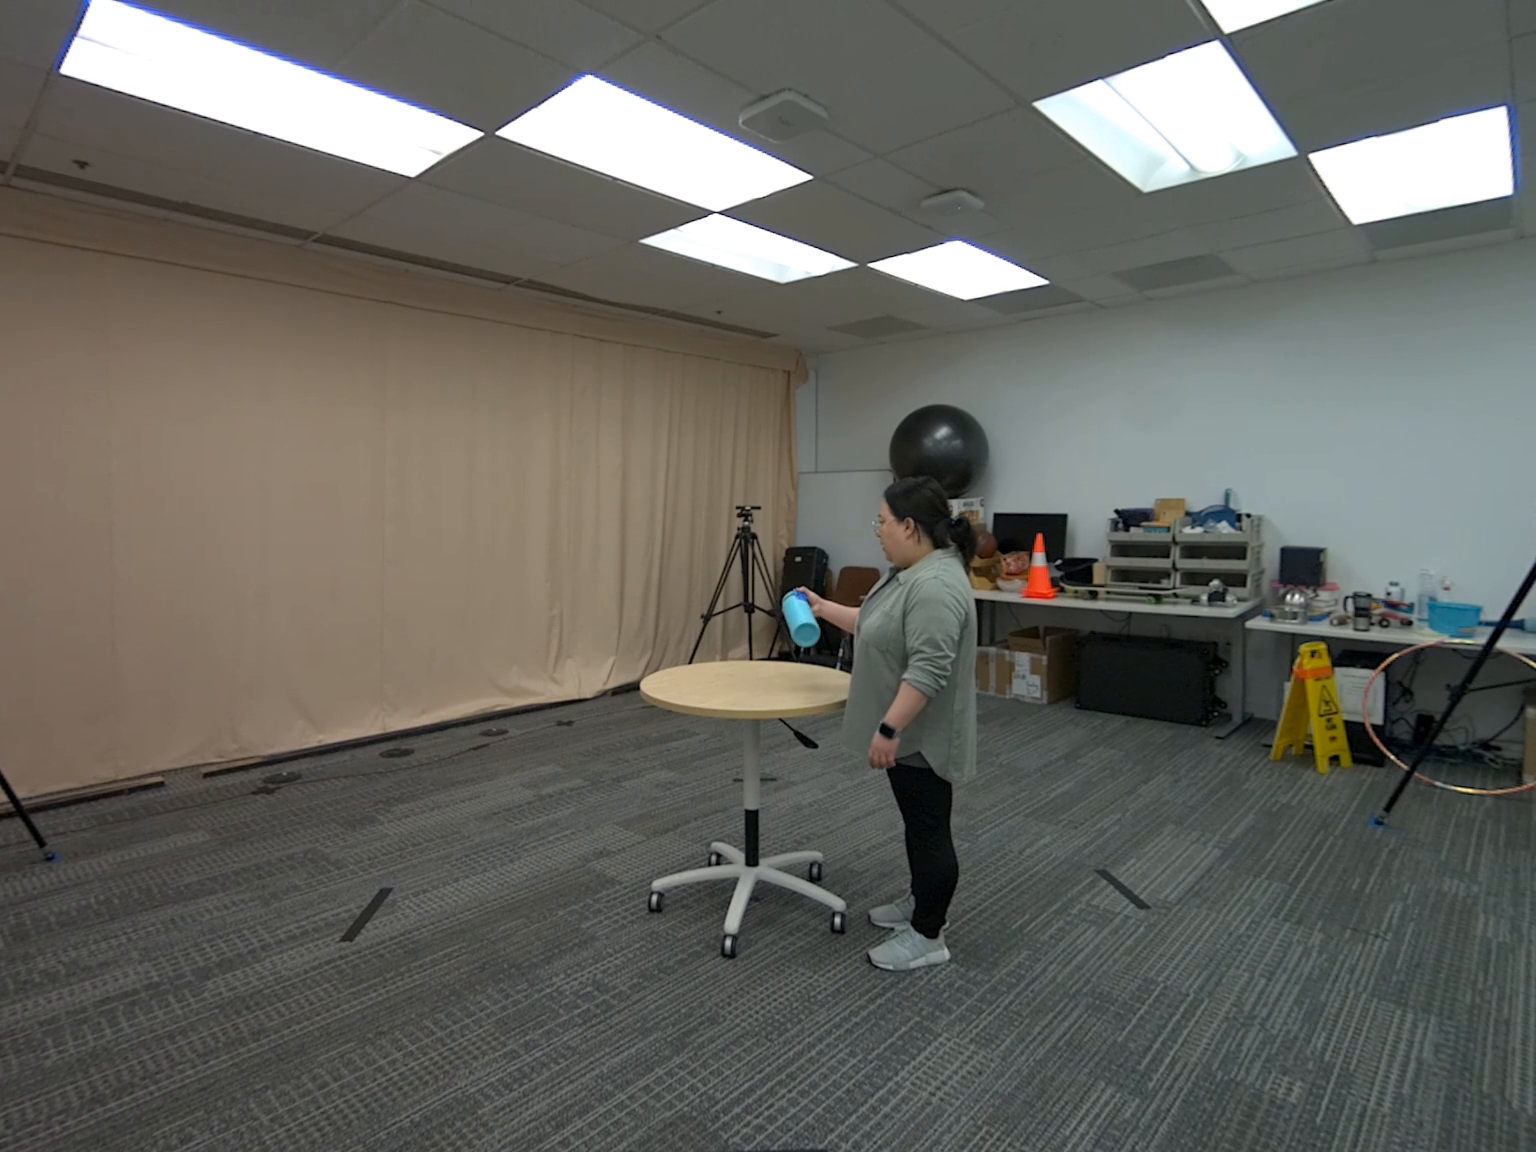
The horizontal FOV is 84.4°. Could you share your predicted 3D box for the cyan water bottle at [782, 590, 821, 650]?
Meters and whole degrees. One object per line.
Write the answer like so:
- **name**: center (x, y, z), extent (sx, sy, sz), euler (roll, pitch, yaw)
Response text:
- **cyan water bottle**: center (0.104, 0.138, 2.777), extent (0.092, 0.091, 0.287), euler (-1, 22, -3)
